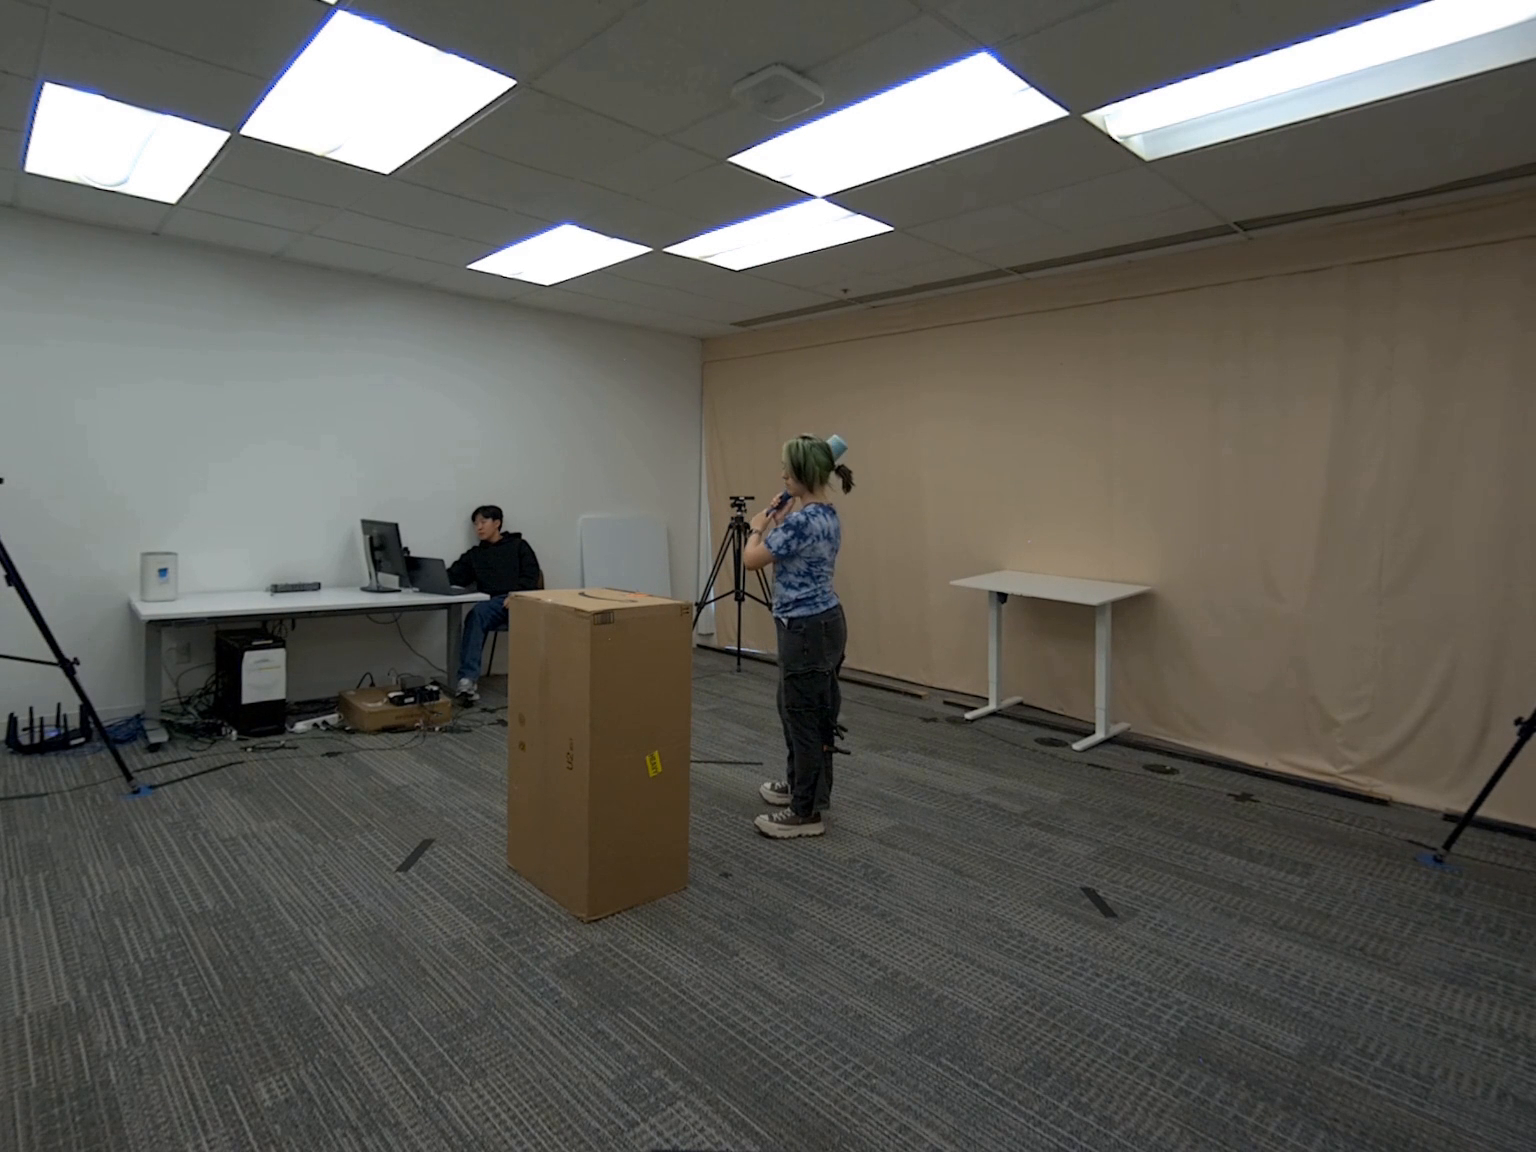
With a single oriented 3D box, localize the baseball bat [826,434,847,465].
[{"bbox_3d":[0.127,-0.388,3.629,0.088,0.543,0.090,41,12,-12],"label":"baseball bat"}]
